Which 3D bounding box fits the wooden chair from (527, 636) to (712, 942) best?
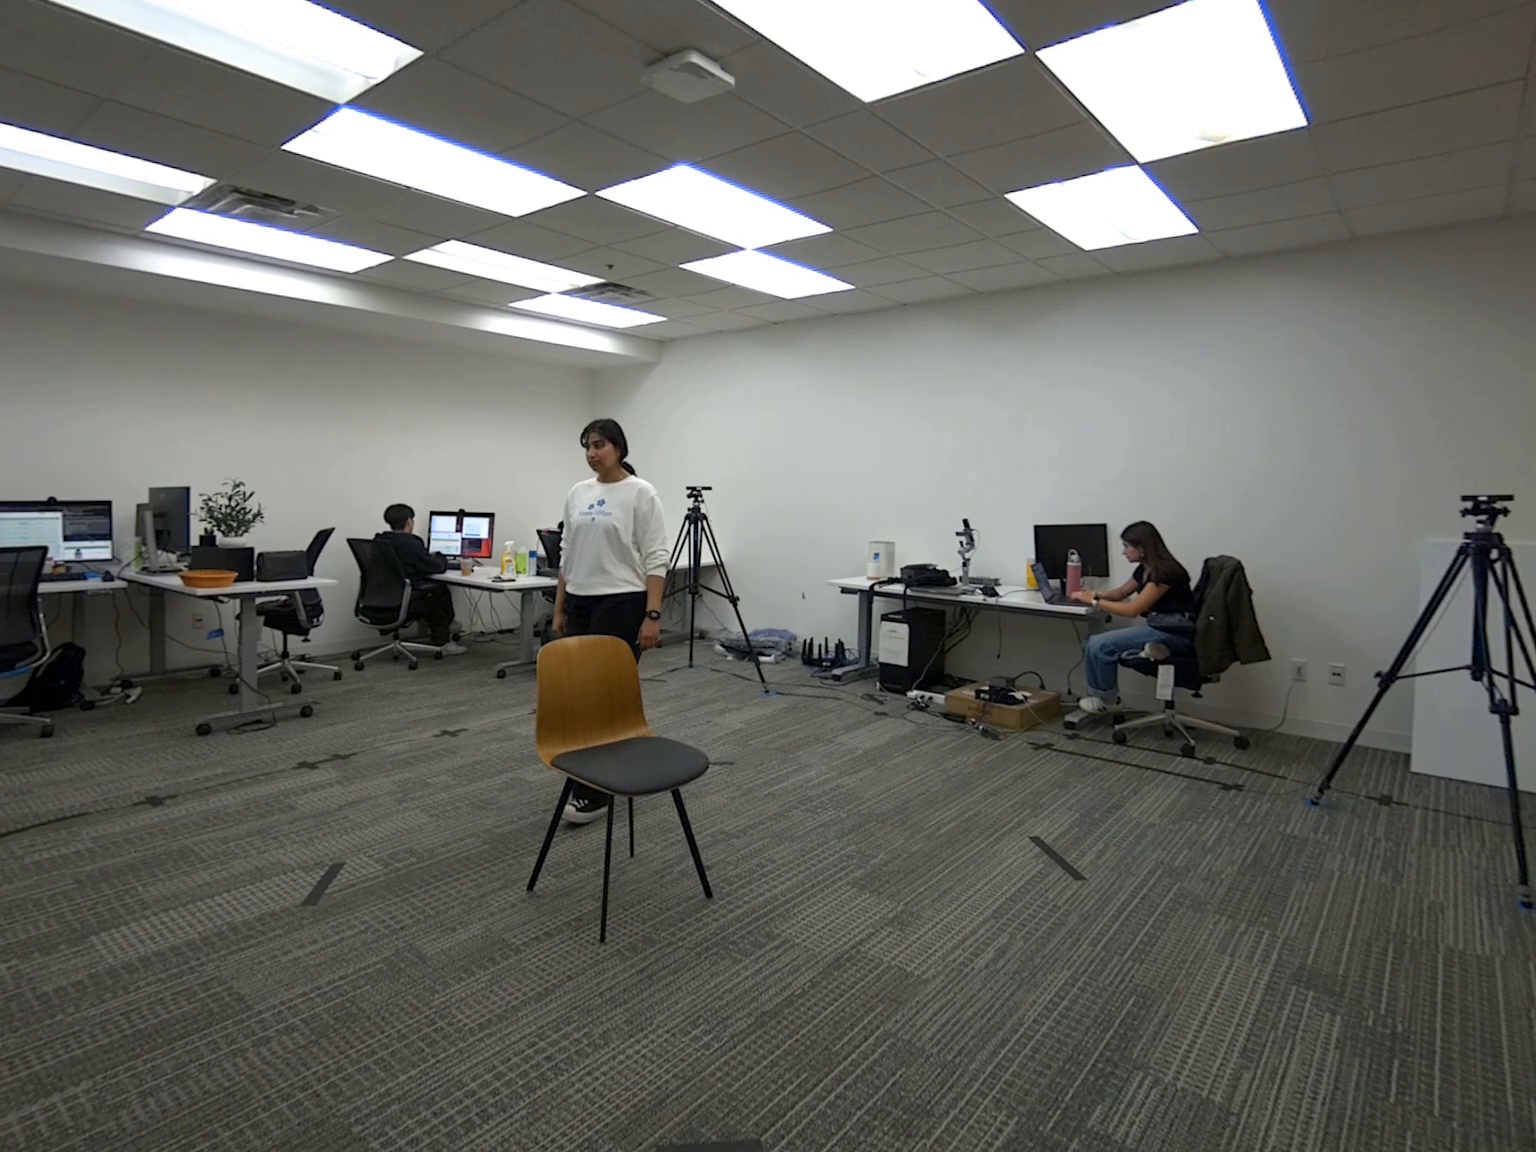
[{"bbox_3d":[-0.492,0.657,2.865,0.463,0.878,0.539,-2,0,-44],"label":"wooden chair"}]
